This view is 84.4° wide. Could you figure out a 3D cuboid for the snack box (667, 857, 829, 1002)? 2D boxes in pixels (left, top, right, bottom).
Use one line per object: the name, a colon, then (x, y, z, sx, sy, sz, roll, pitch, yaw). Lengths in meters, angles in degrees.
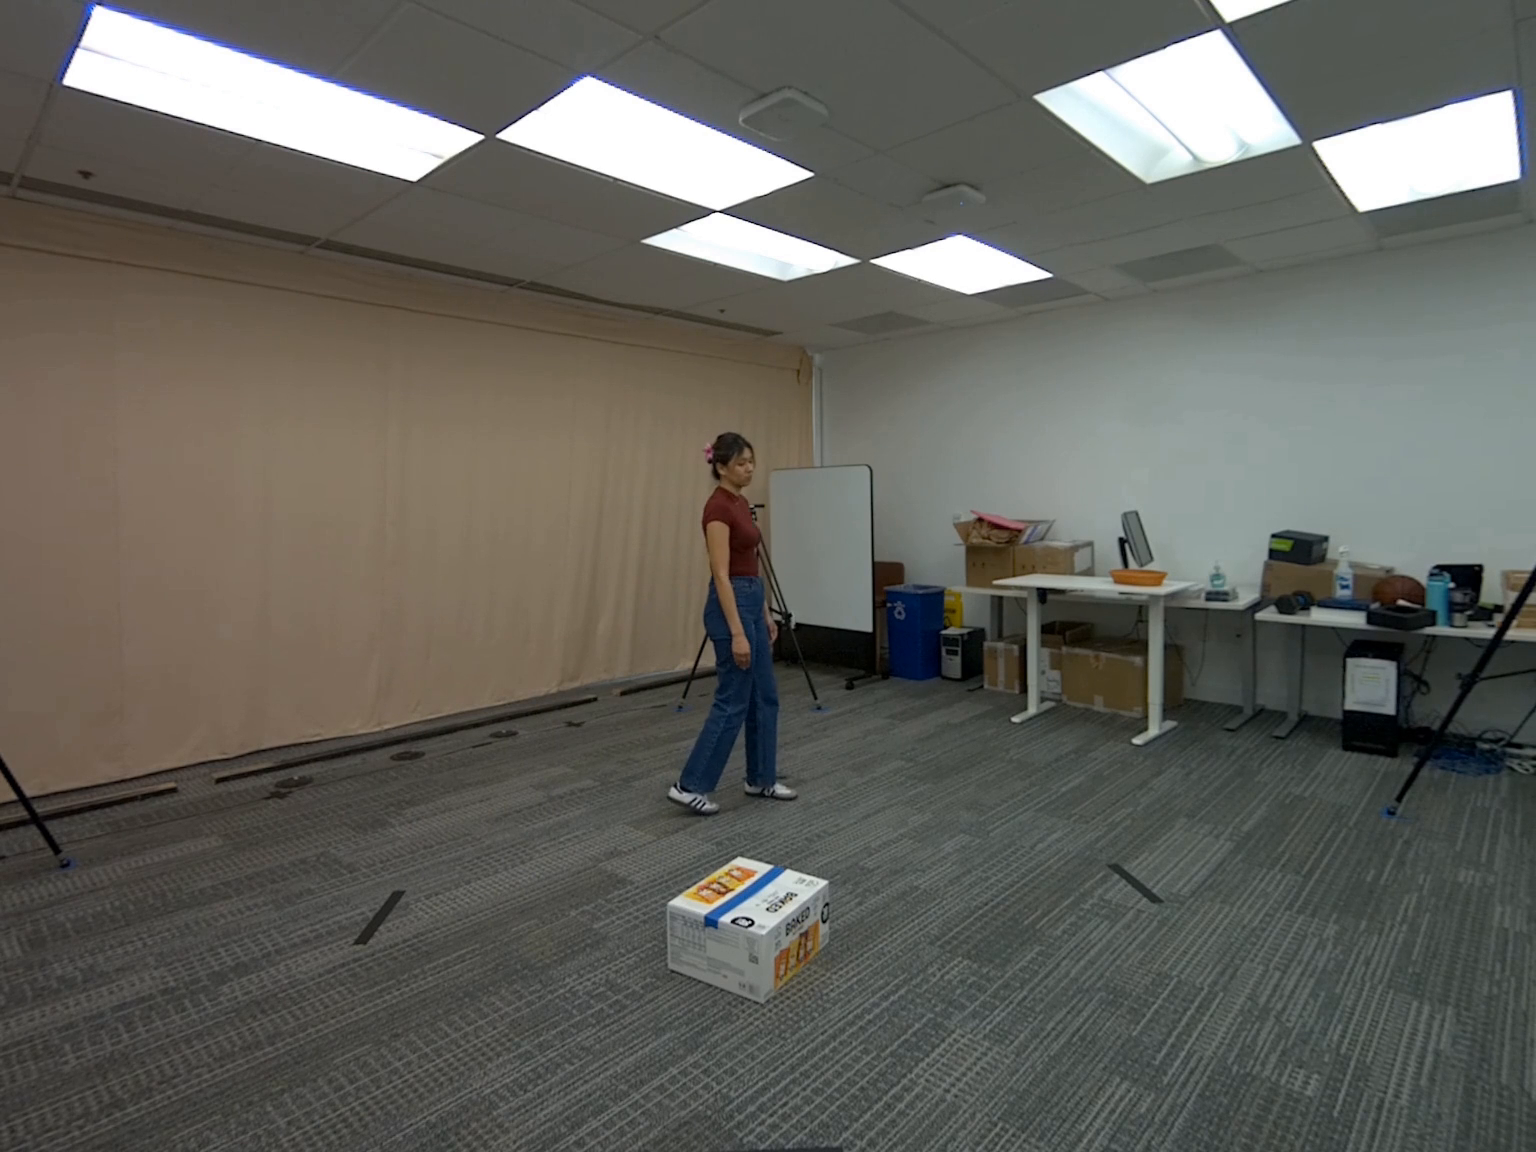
snack box: (-0.053, 1.067, 2.594, 0.350, 0.205, 0.394, 1, 5, 33)
